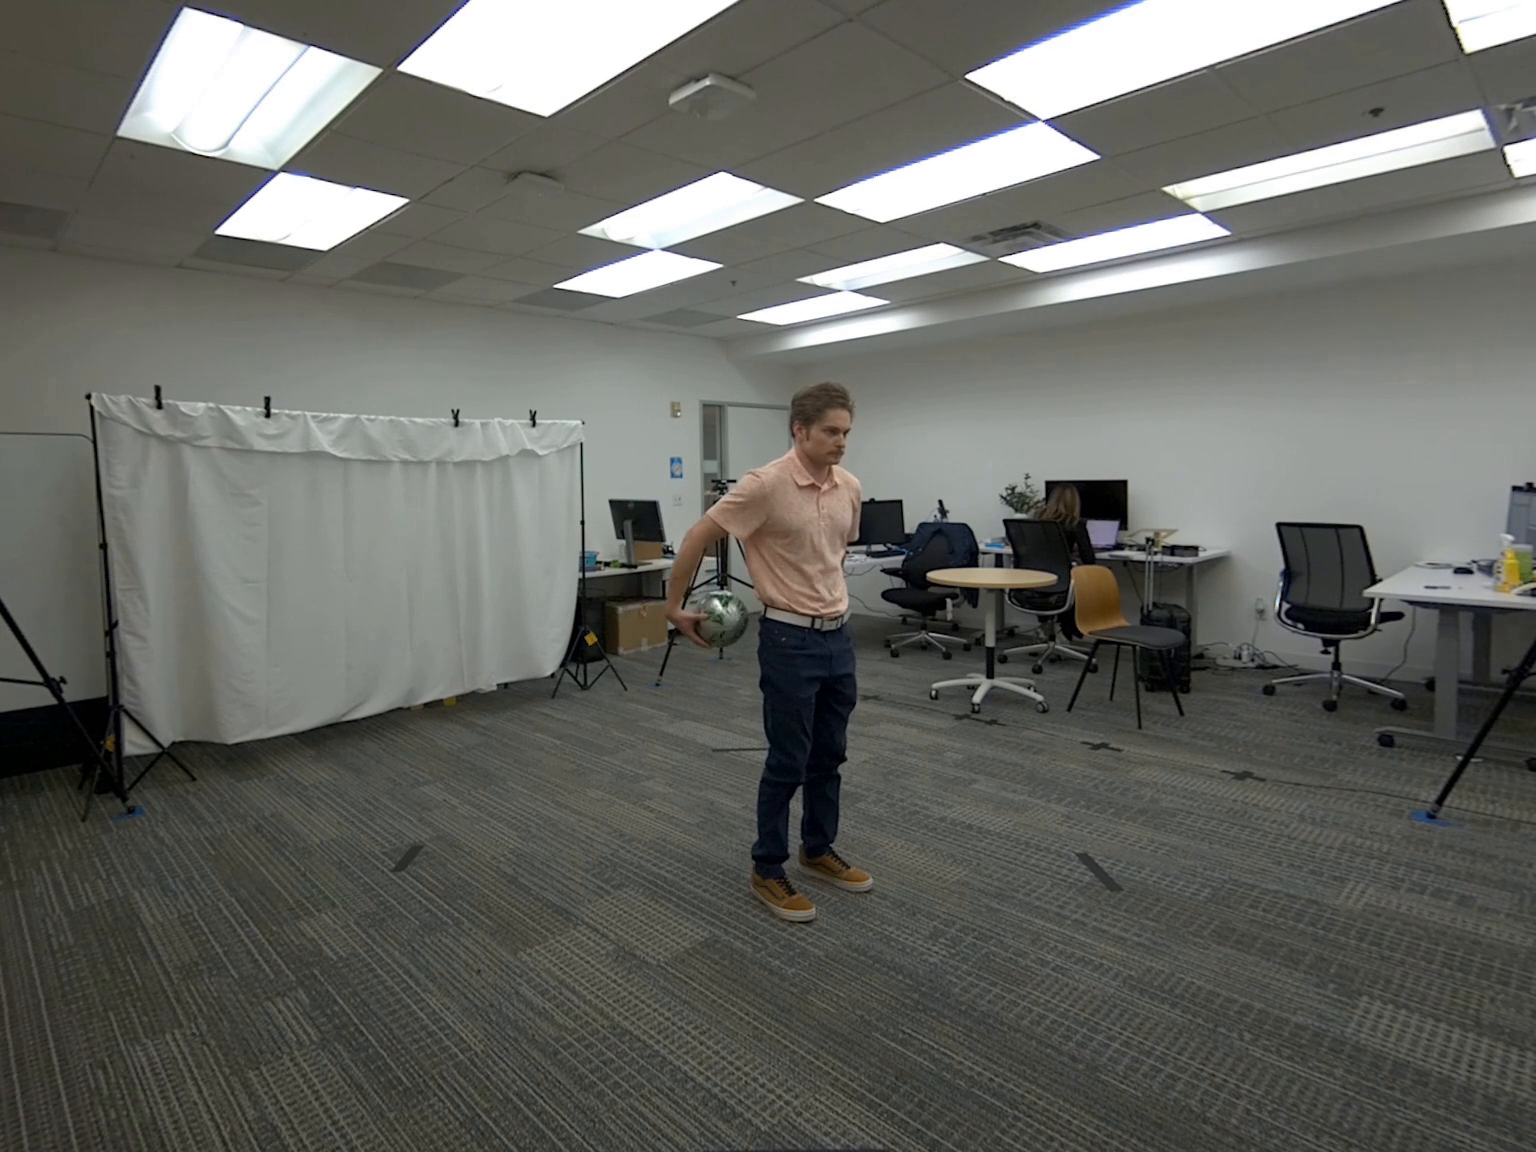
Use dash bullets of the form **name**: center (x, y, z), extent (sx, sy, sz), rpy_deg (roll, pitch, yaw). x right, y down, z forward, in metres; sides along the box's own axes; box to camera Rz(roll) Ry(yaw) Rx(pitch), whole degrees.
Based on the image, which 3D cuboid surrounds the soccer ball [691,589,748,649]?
- **soccer ball**: center (-0.129, 0.139, 2.798), extent (0.187, 0.187, 0.188), rpy_deg (-1, 5, -2)
